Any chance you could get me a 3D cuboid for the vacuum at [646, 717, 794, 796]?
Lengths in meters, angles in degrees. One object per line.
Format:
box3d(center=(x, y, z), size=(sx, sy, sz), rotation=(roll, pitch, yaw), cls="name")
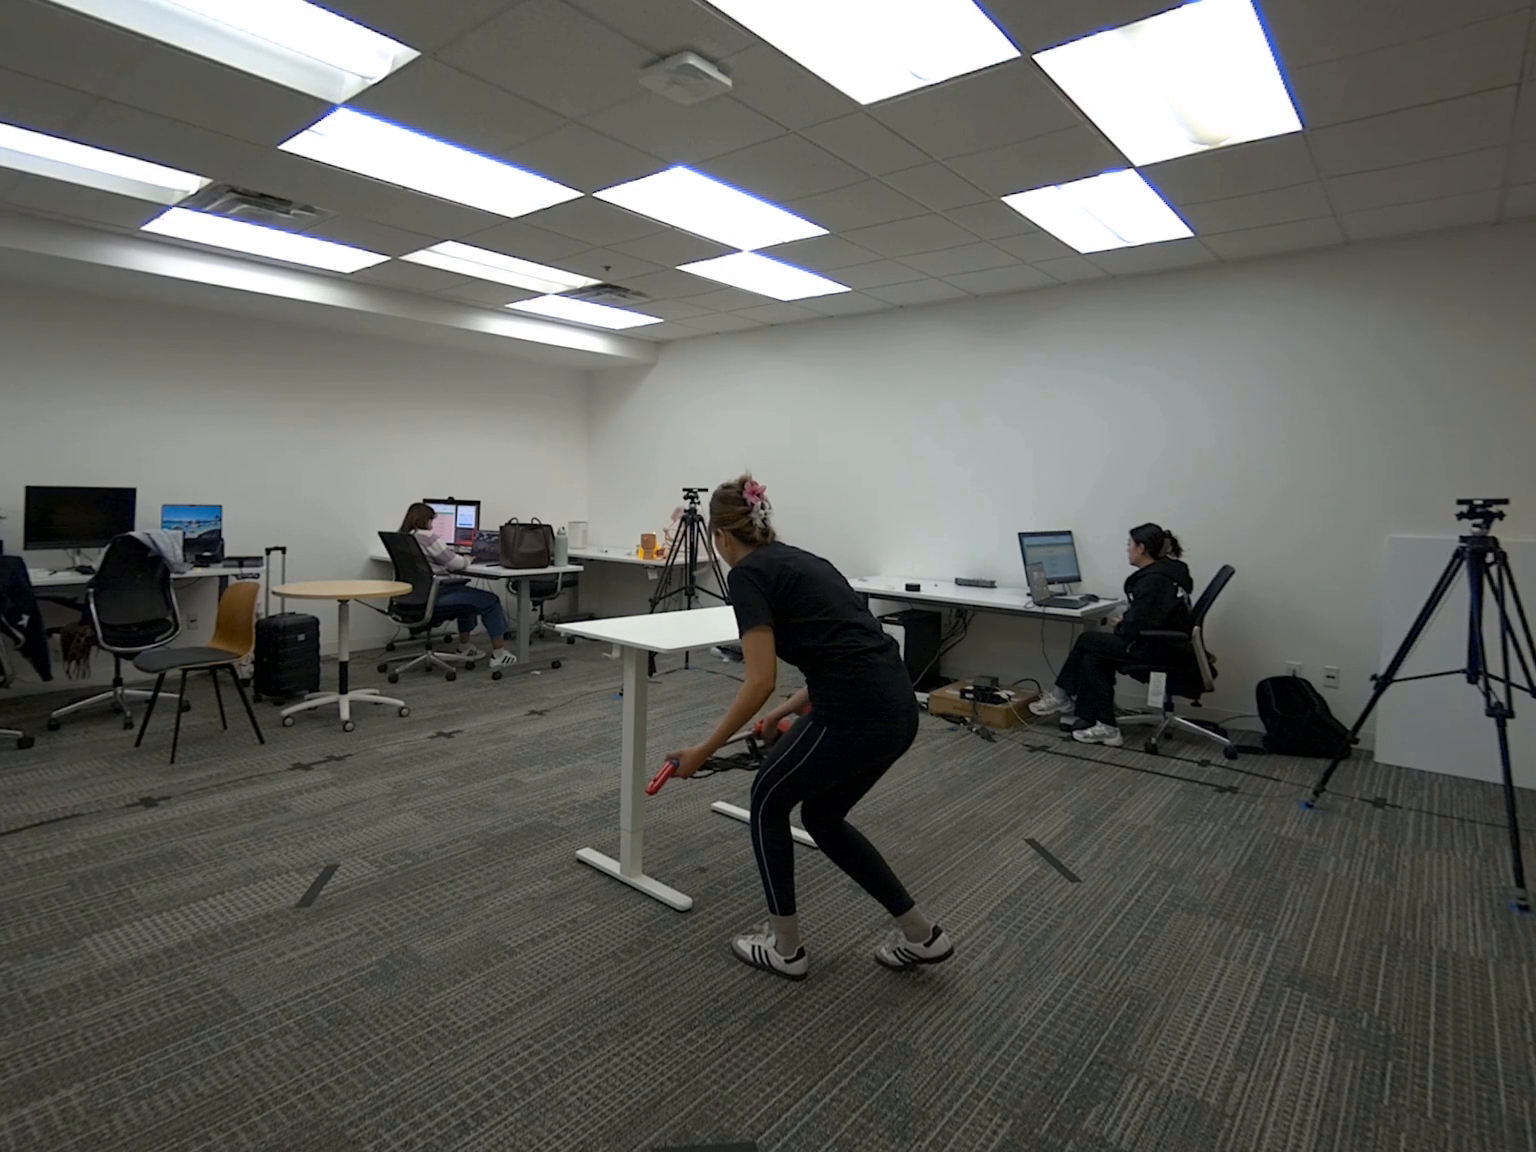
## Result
box3d(center=(-0.077, 0.528, 2.633), size=(0.261, 0.143, 1.021), rotation=(9, 7, 30), cls="vacuum")
